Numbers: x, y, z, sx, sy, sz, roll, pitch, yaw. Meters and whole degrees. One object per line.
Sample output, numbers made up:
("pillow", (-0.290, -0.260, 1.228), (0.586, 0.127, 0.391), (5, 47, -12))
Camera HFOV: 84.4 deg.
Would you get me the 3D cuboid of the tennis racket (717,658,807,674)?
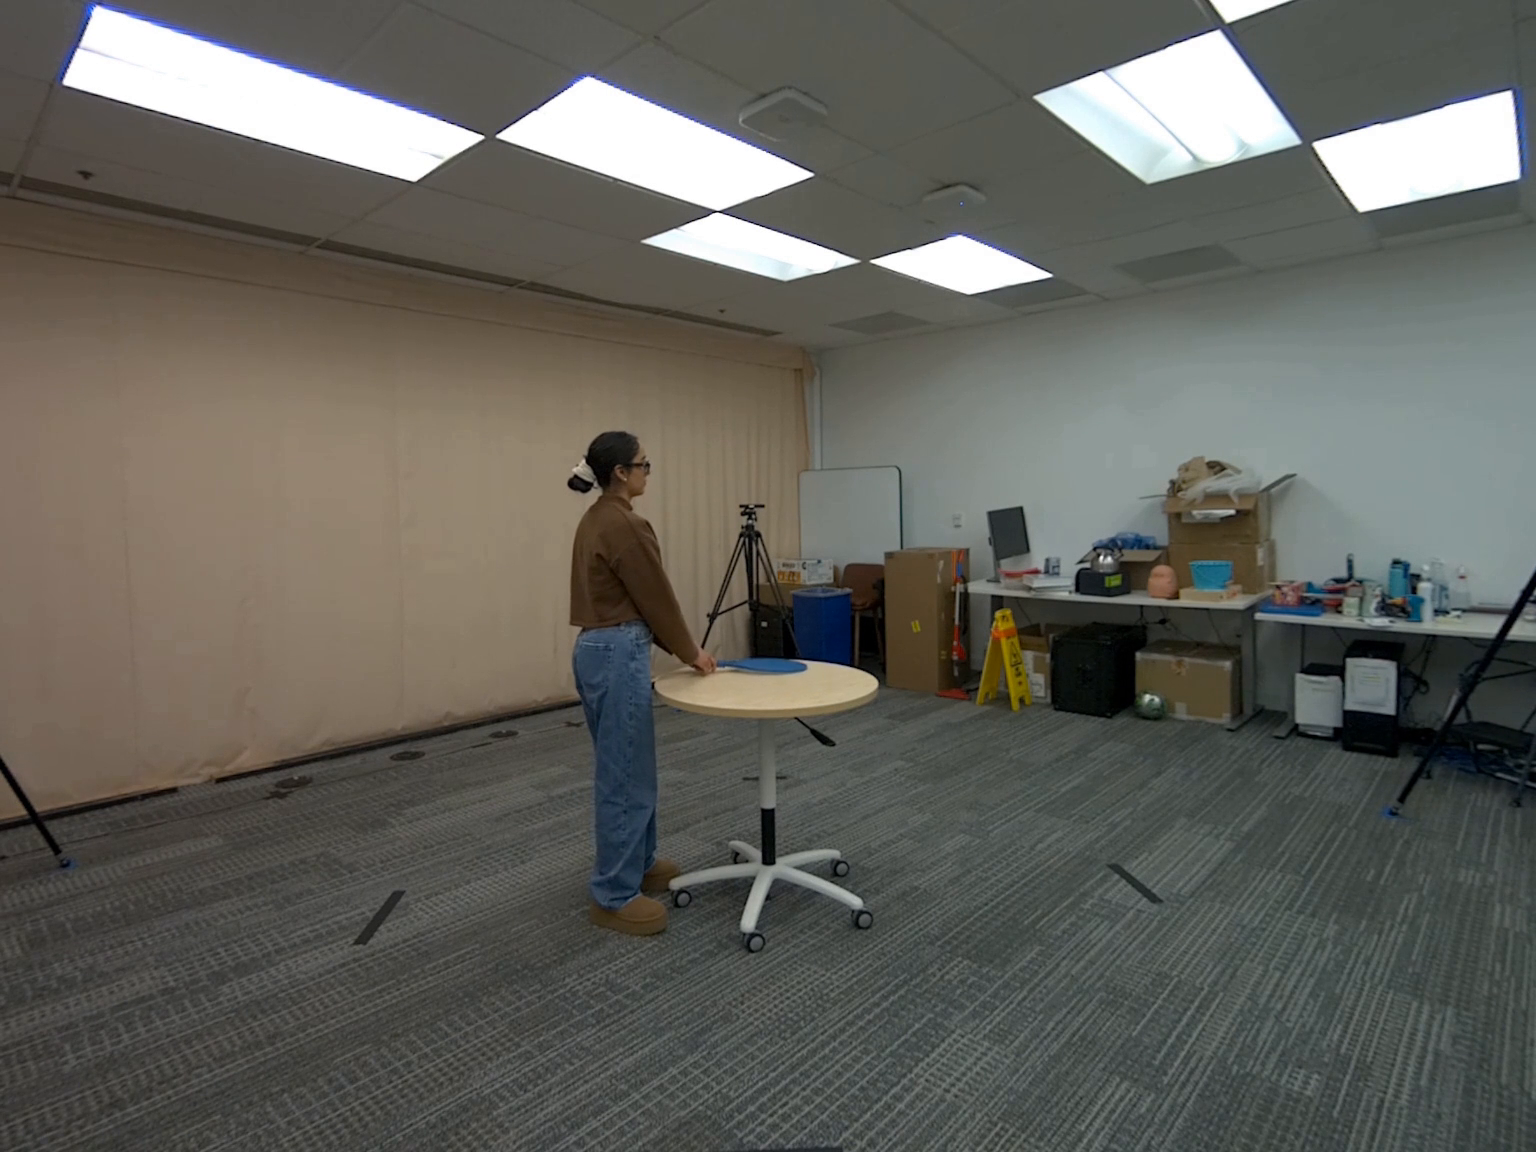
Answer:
("tennis racket", (-0.063, 0.332, 3.089), (0.429, 0.031, 0.216), (3, 6, -8))
